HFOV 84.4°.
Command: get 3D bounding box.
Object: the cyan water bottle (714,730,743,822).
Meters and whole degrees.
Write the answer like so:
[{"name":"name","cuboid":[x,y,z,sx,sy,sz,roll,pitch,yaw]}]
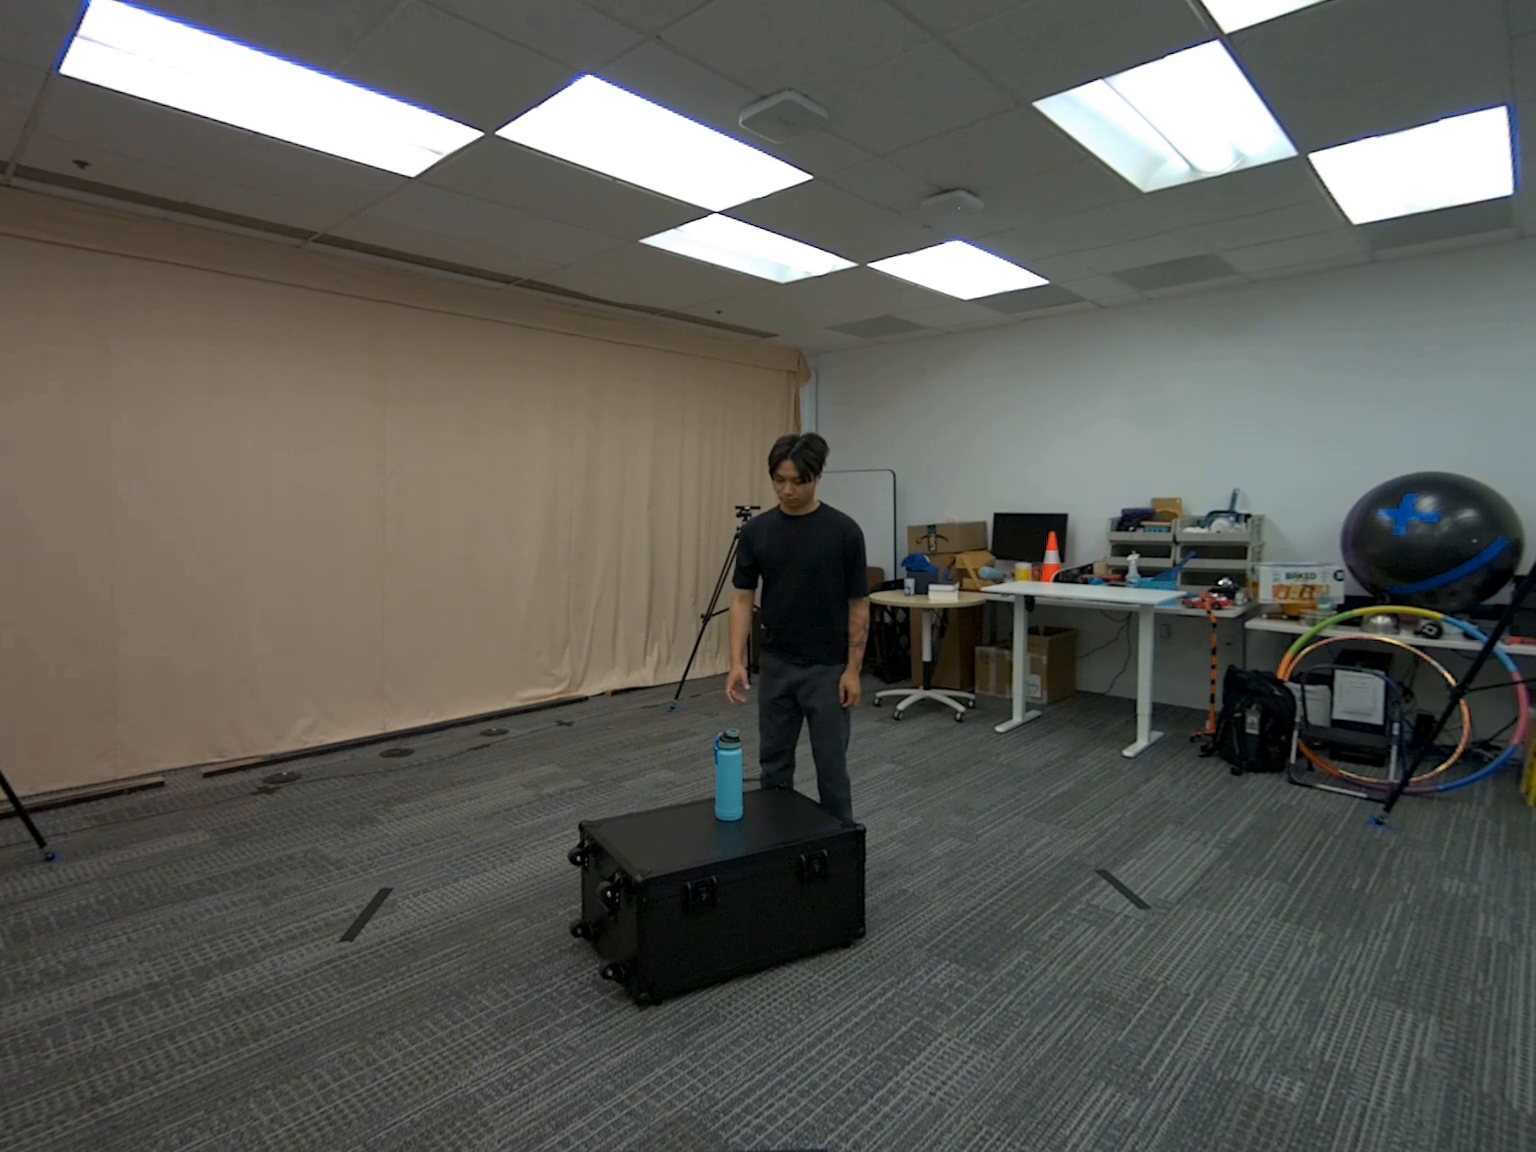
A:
[{"name":"cyan water bottle","cuboid":[-0.129,0.654,2.753,0.092,0.283,0.092,-2,2,-2]}]
